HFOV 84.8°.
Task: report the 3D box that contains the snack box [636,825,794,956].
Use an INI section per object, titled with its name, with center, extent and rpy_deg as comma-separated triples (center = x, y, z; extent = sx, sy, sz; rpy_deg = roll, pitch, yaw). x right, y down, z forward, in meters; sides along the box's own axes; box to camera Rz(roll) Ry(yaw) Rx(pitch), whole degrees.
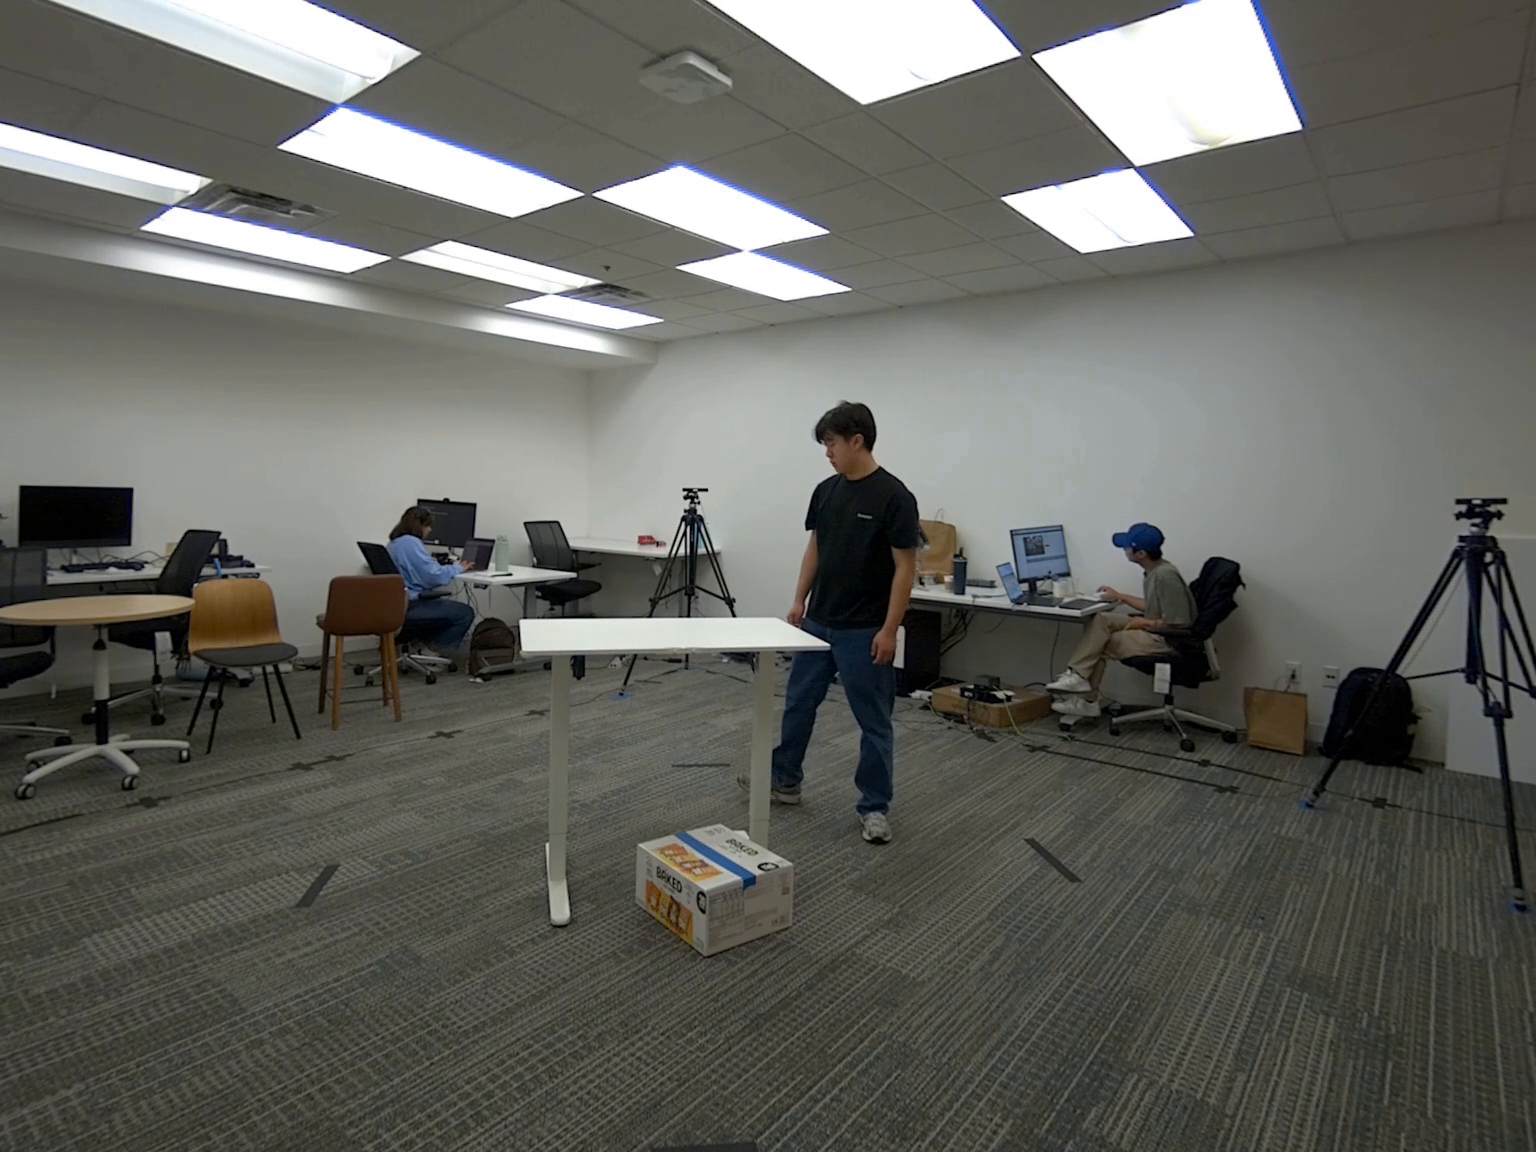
[snack box]
center = -0.186, 1.002, 2.762
extent = 0.330, 0.205, 0.419
rpy_deg = -2, 6, -37
